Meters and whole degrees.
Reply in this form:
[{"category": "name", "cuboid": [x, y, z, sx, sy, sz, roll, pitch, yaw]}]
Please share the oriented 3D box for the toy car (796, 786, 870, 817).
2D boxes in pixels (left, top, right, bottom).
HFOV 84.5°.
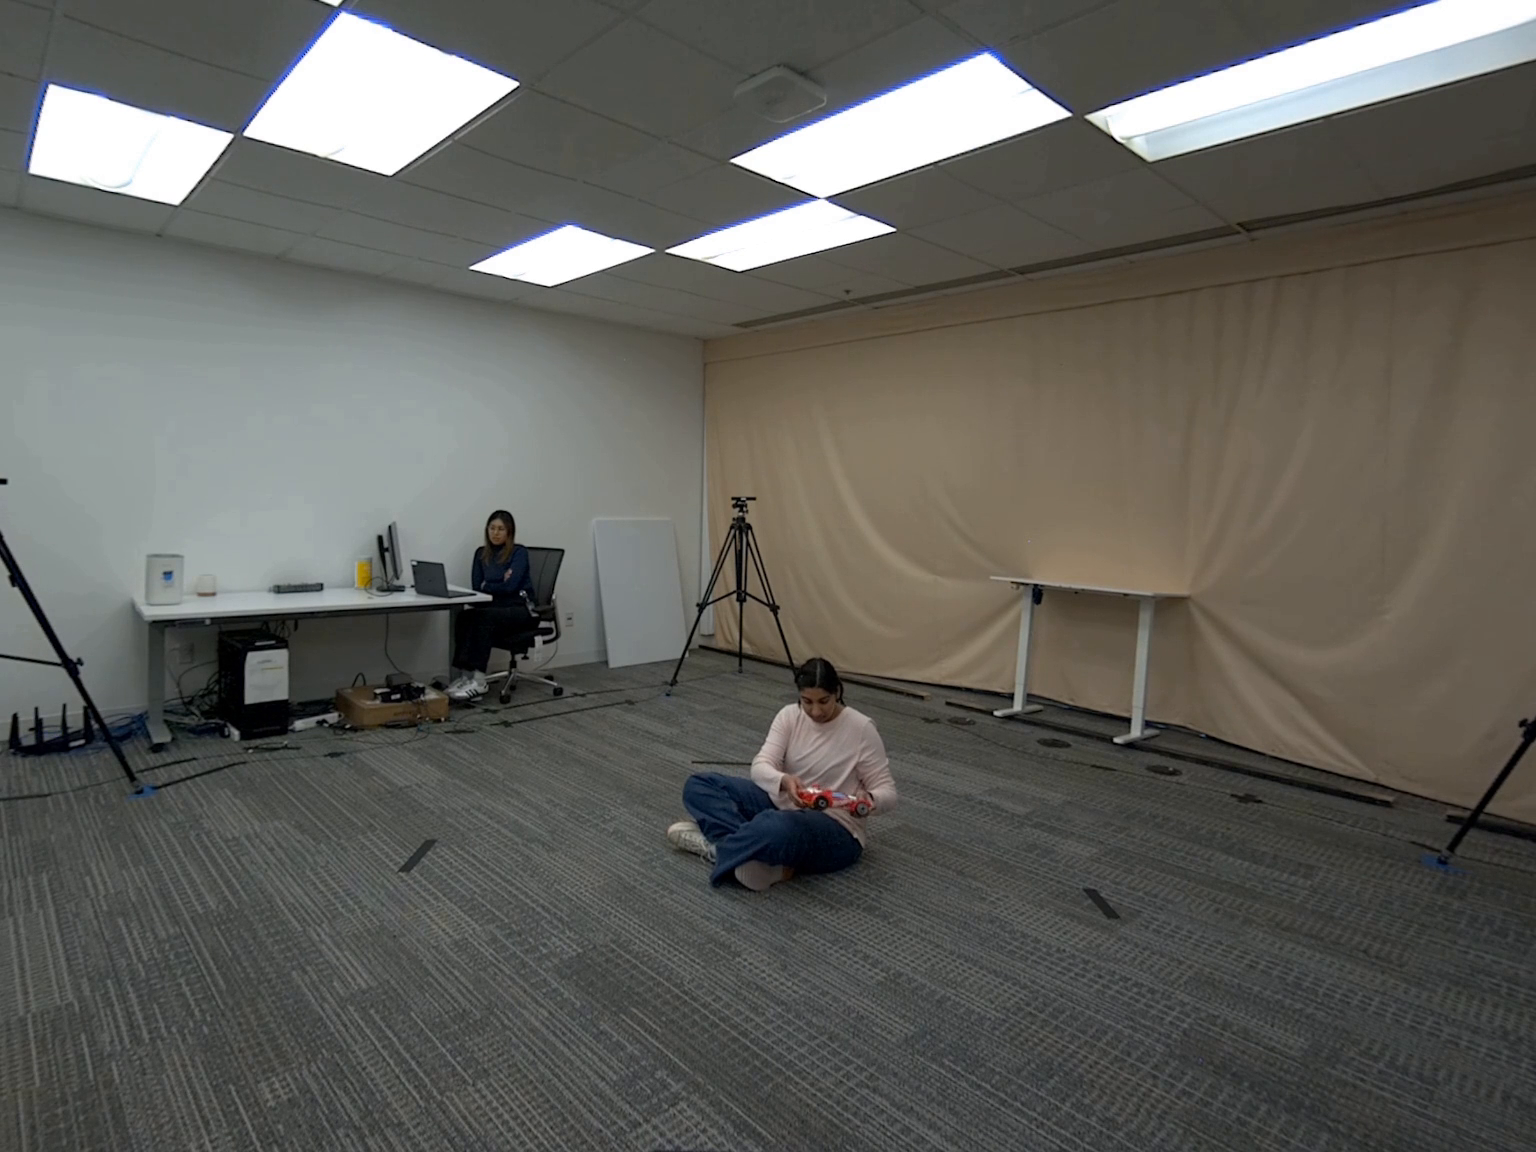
[{"category": "toy car", "cuboid": [0.206, 0.789, 2.933, 0.253, 0.084, 0.130, 19, -17, -5]}]
